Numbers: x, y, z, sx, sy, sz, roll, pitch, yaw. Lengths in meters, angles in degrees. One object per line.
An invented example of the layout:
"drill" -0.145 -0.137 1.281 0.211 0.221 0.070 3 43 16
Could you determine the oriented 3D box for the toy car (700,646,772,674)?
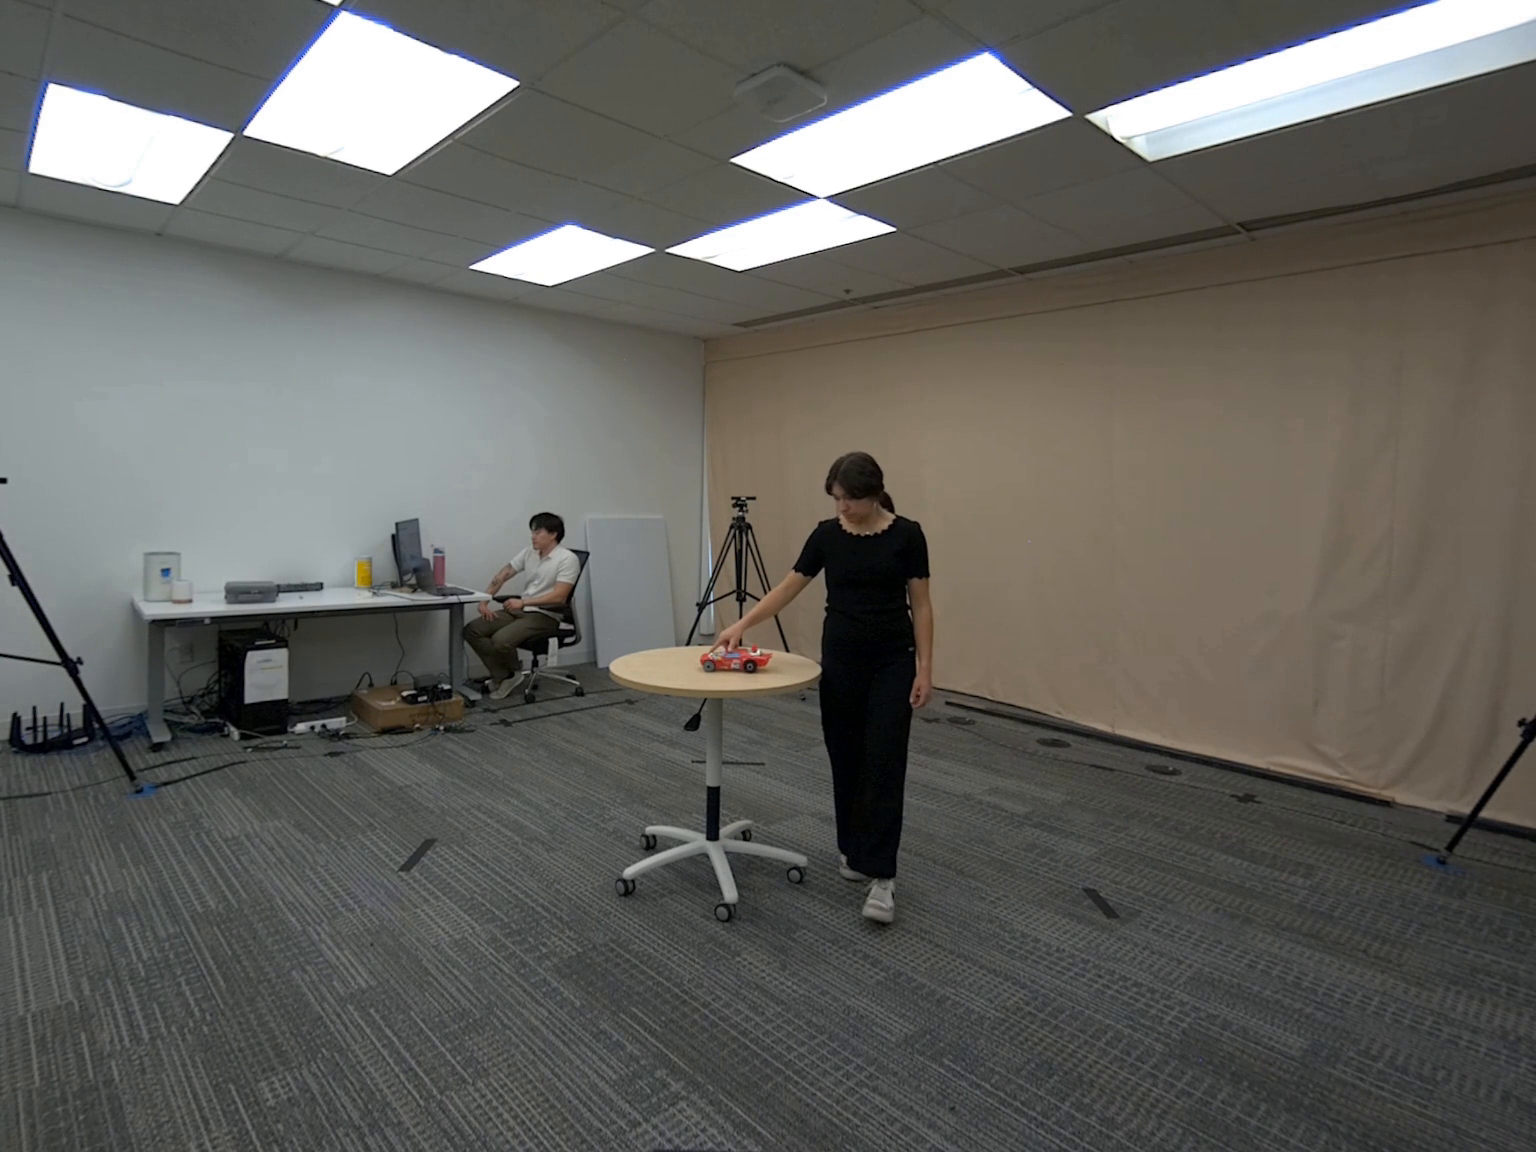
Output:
"toy car" -0.114 0.299 2.980 0.255 0.083 0.130 -11 6 4
